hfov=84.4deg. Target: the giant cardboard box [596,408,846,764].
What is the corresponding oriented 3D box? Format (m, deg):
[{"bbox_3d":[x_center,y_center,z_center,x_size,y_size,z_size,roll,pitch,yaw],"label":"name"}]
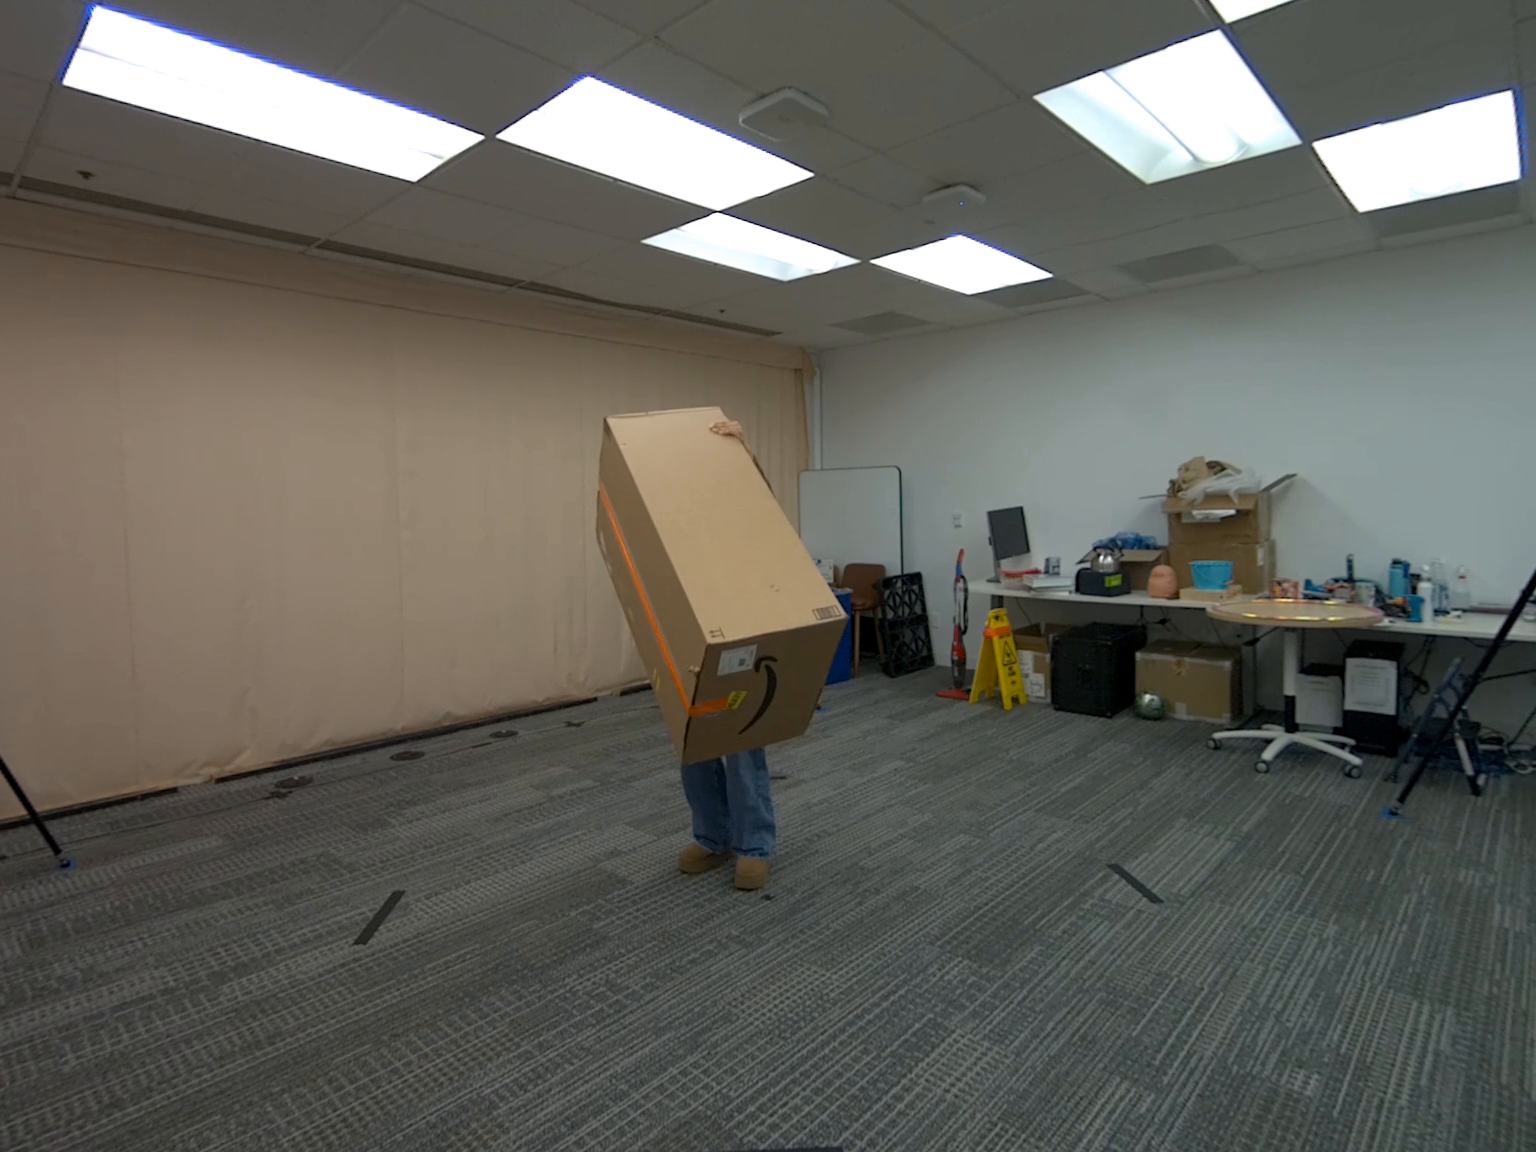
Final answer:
[{"bbox_3d":[-0.213,-0.006,2.766,0.418,0.571,1.058,-10,48,-23],"label":"giant cardboard box"}]
